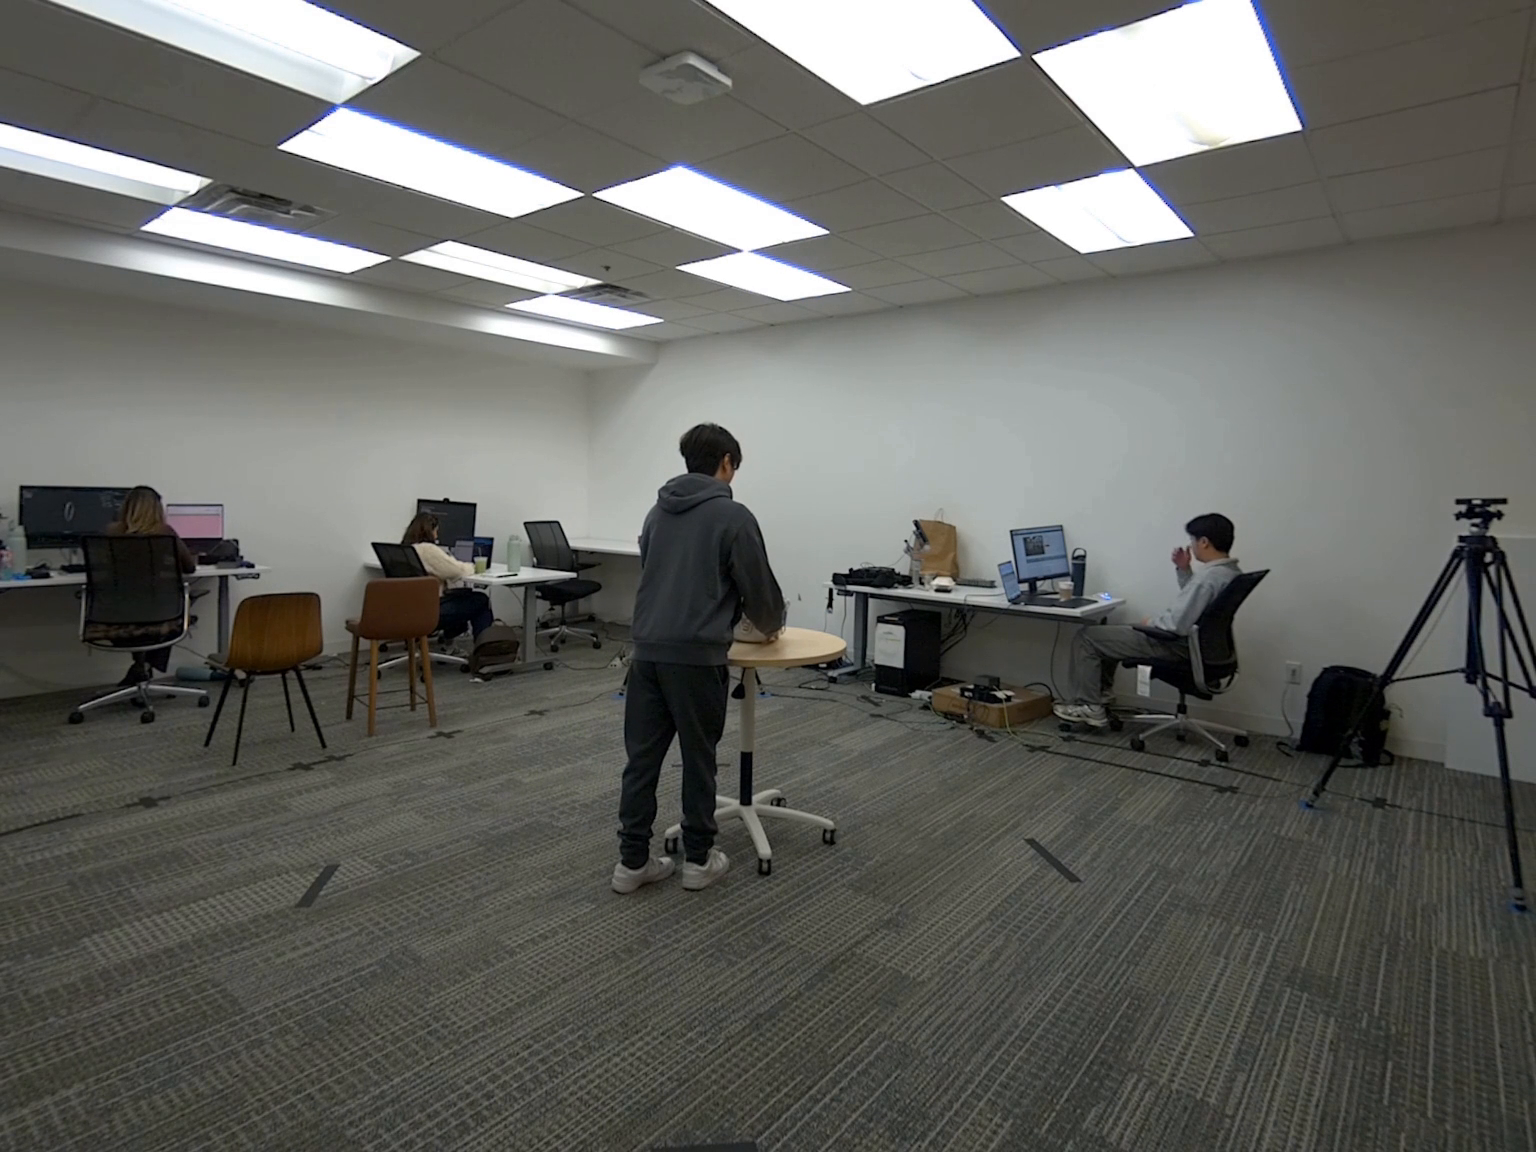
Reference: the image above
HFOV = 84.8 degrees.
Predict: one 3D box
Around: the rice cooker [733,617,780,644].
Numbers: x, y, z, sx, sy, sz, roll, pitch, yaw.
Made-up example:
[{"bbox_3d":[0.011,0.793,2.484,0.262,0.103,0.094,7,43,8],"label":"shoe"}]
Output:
[{"bbox_3d":[-0.054,0.135,3.362,0.226,0.232,0.213,2,4,21],"label":"rice cooker"}]
